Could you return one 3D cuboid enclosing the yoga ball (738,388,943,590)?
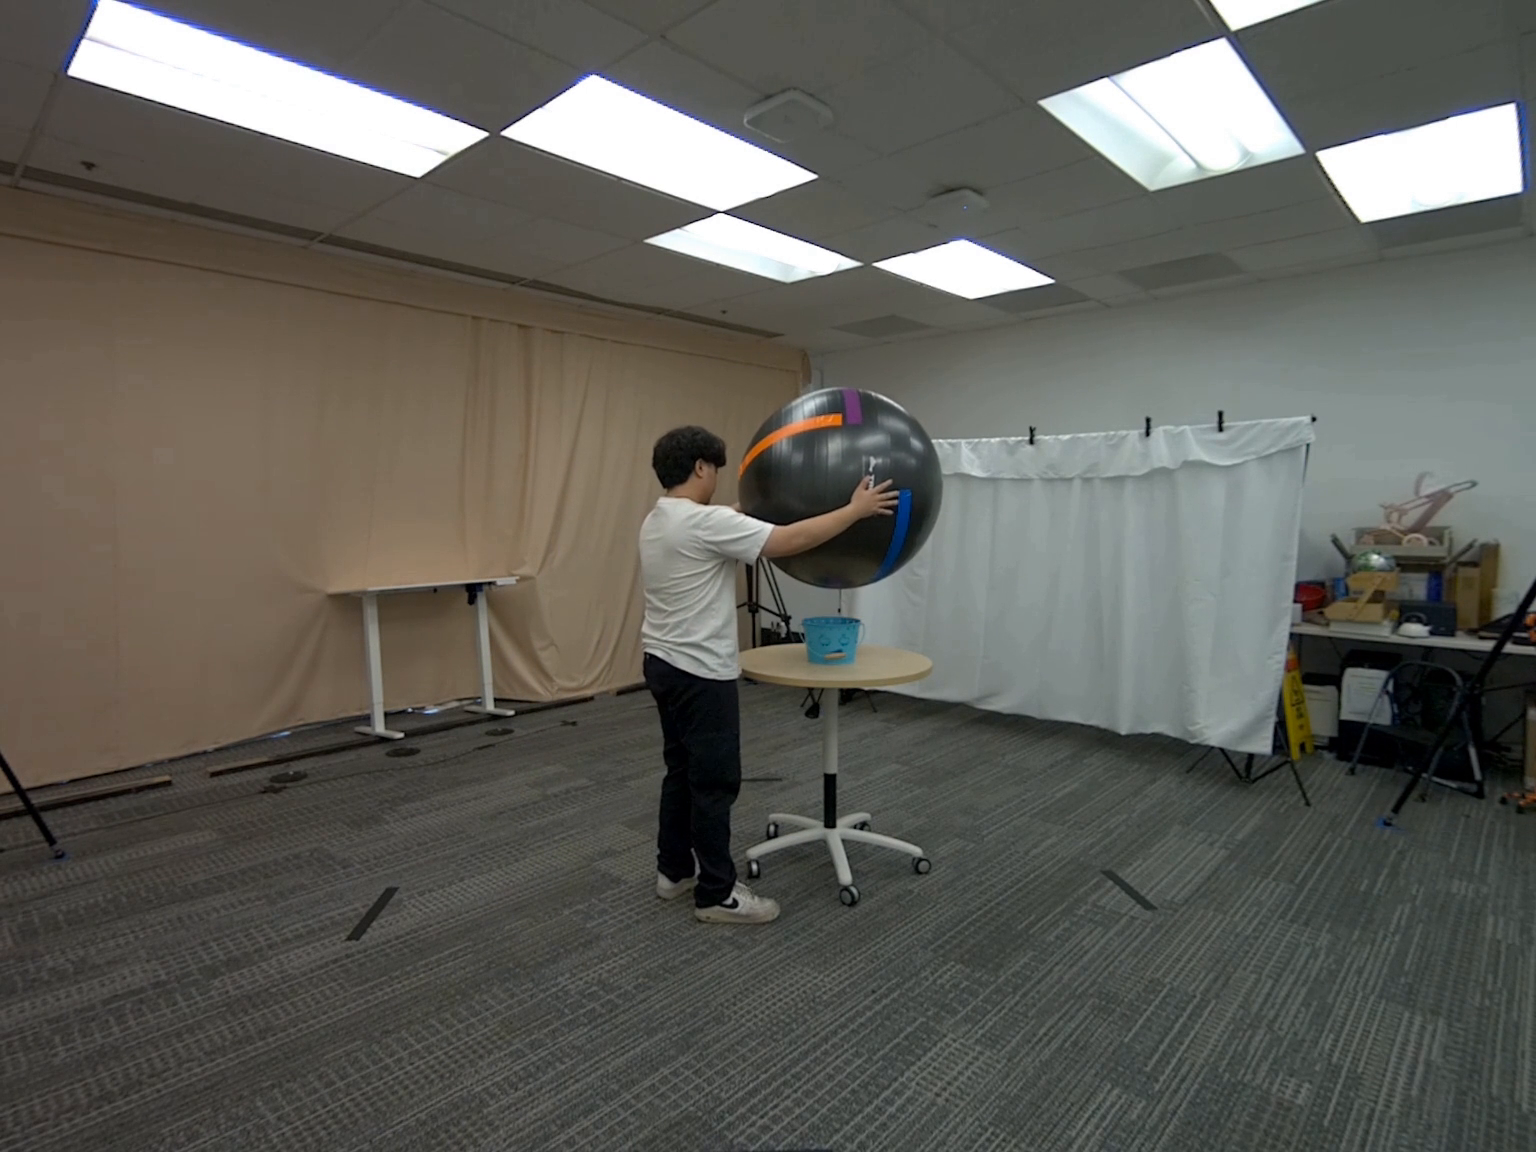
[{"bbox_3d":[0.276,-0.326,3.197,0.757,0.756,0.761,0,4,-2],"label":"yoga ball"}]
